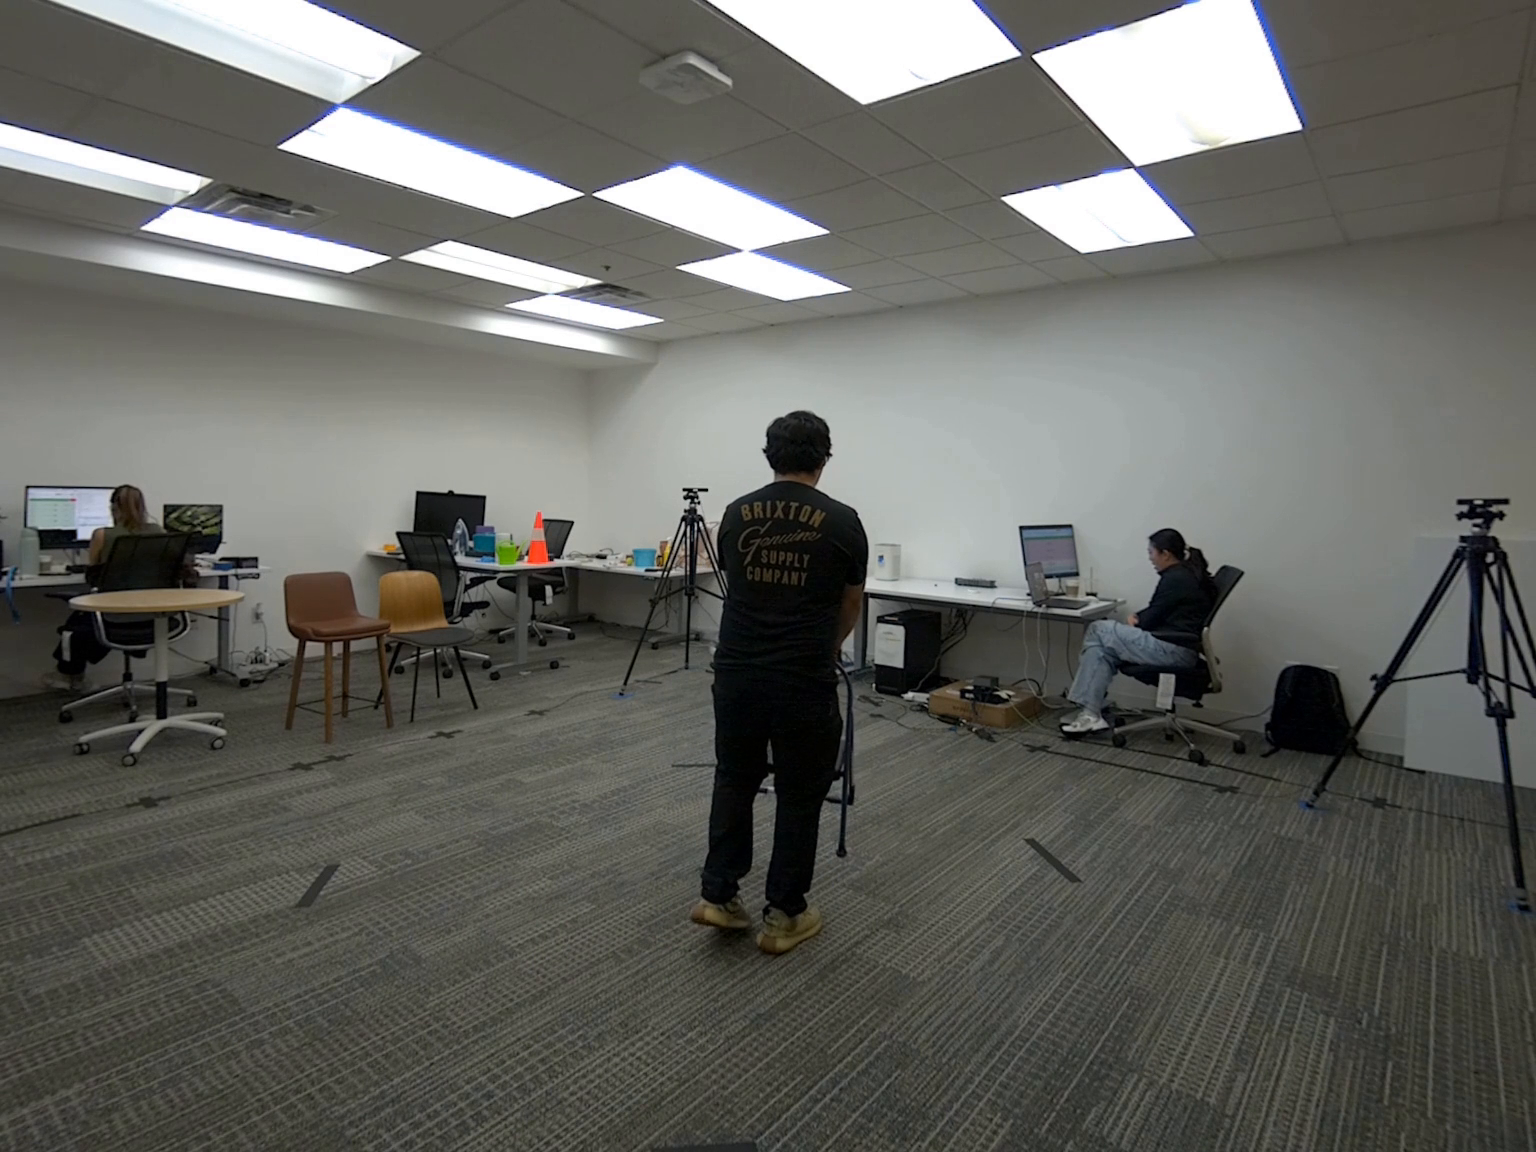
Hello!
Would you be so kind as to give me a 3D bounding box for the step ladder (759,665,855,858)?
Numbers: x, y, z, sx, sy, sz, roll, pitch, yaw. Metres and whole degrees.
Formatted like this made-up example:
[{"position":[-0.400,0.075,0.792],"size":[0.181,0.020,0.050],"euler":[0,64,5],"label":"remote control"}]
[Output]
[{"position":[0.076,0.571,2.945],"size":[0.437,0.598,0.348],"euler":[3,13,13],"label":"step ladder"}]
